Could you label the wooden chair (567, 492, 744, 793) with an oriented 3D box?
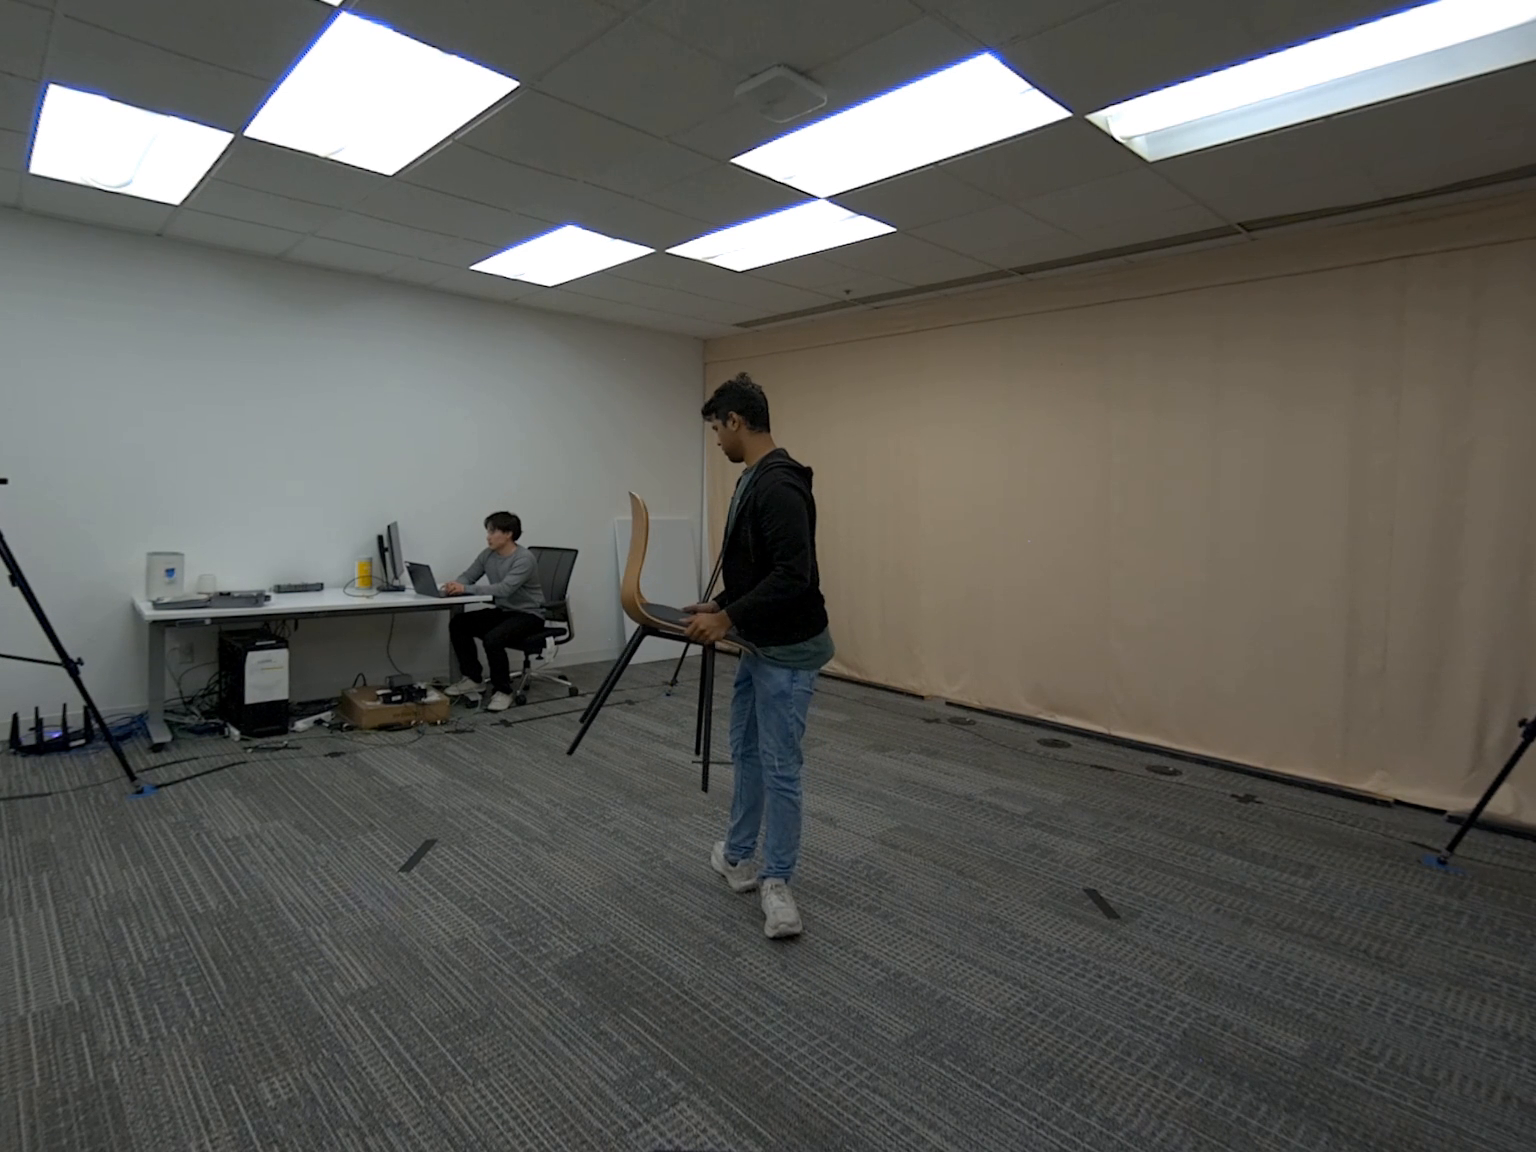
[{"bbox_3d":[-0.308,0.202,2.828,0.520,0.878,0.480,13,-1,-6],"label":"wooden chair"}]
